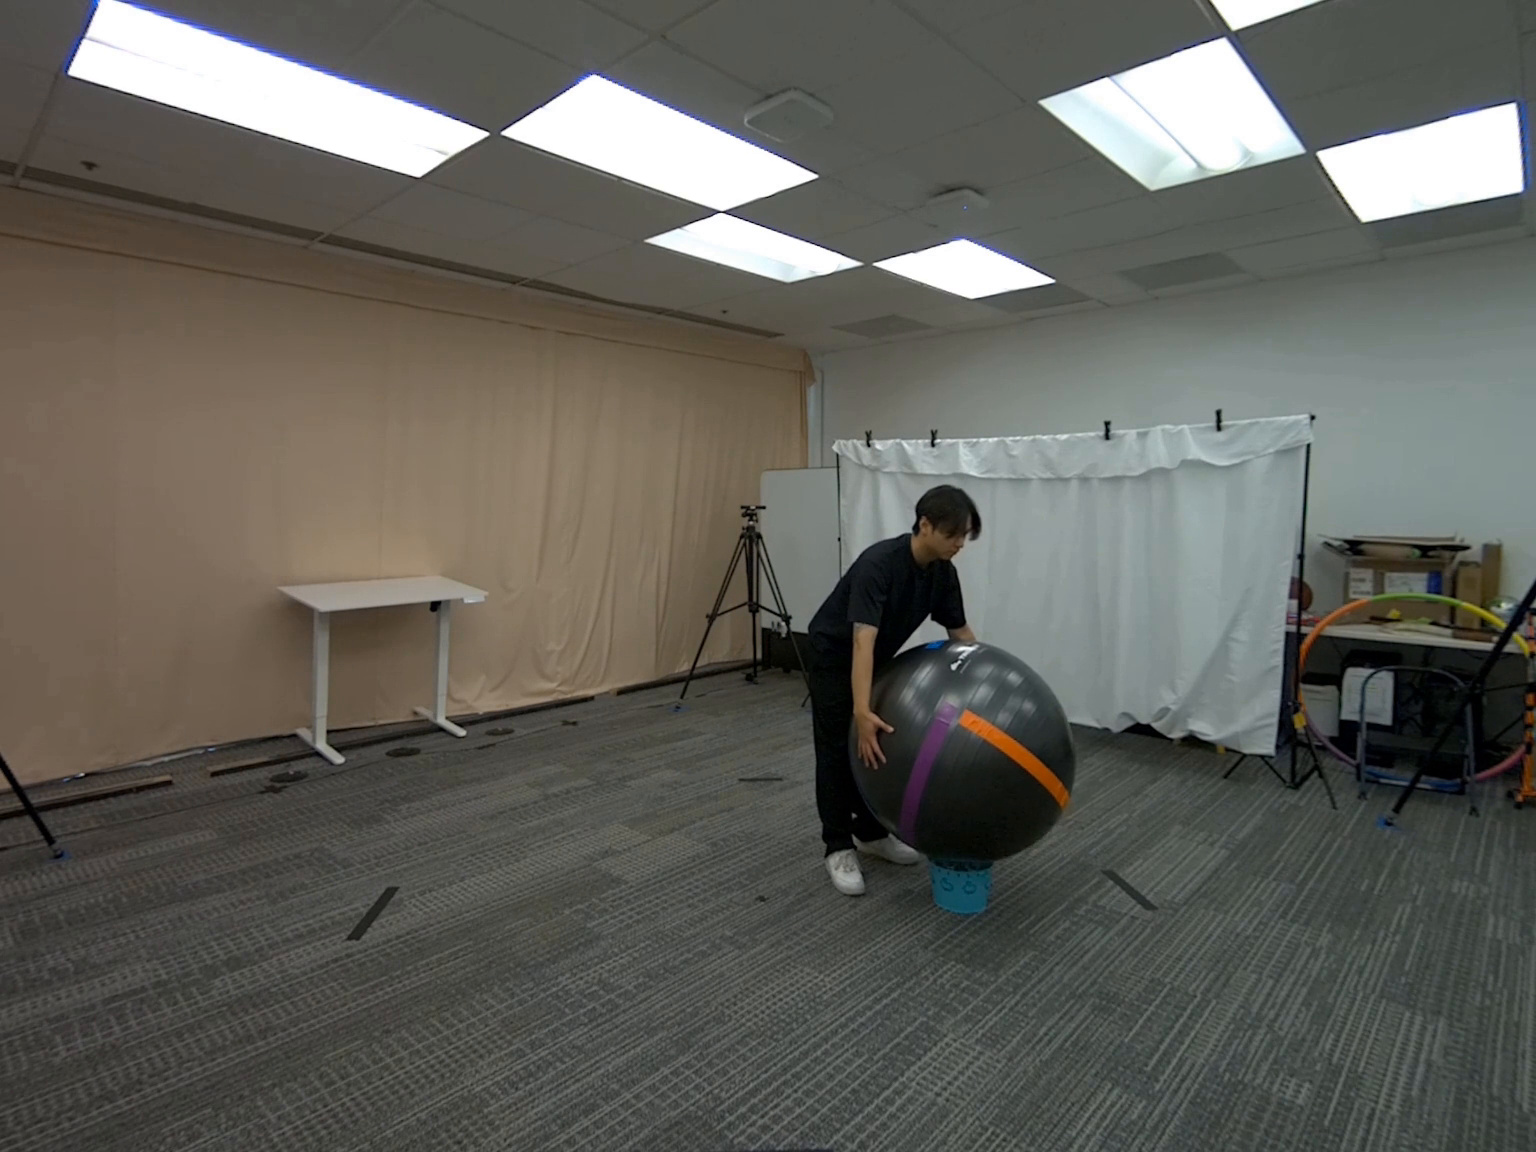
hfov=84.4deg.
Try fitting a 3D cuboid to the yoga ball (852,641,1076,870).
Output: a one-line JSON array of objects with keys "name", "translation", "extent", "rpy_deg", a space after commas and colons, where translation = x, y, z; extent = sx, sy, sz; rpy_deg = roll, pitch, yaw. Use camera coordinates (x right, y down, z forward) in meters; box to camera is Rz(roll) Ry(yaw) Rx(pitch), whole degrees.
[{"name": "yoga ball", "translation": [0.674, 0.604, 2.942], "extent": [0.757, 0.756, 0.760], "rpy_deg": [0, 4, -2]}]
